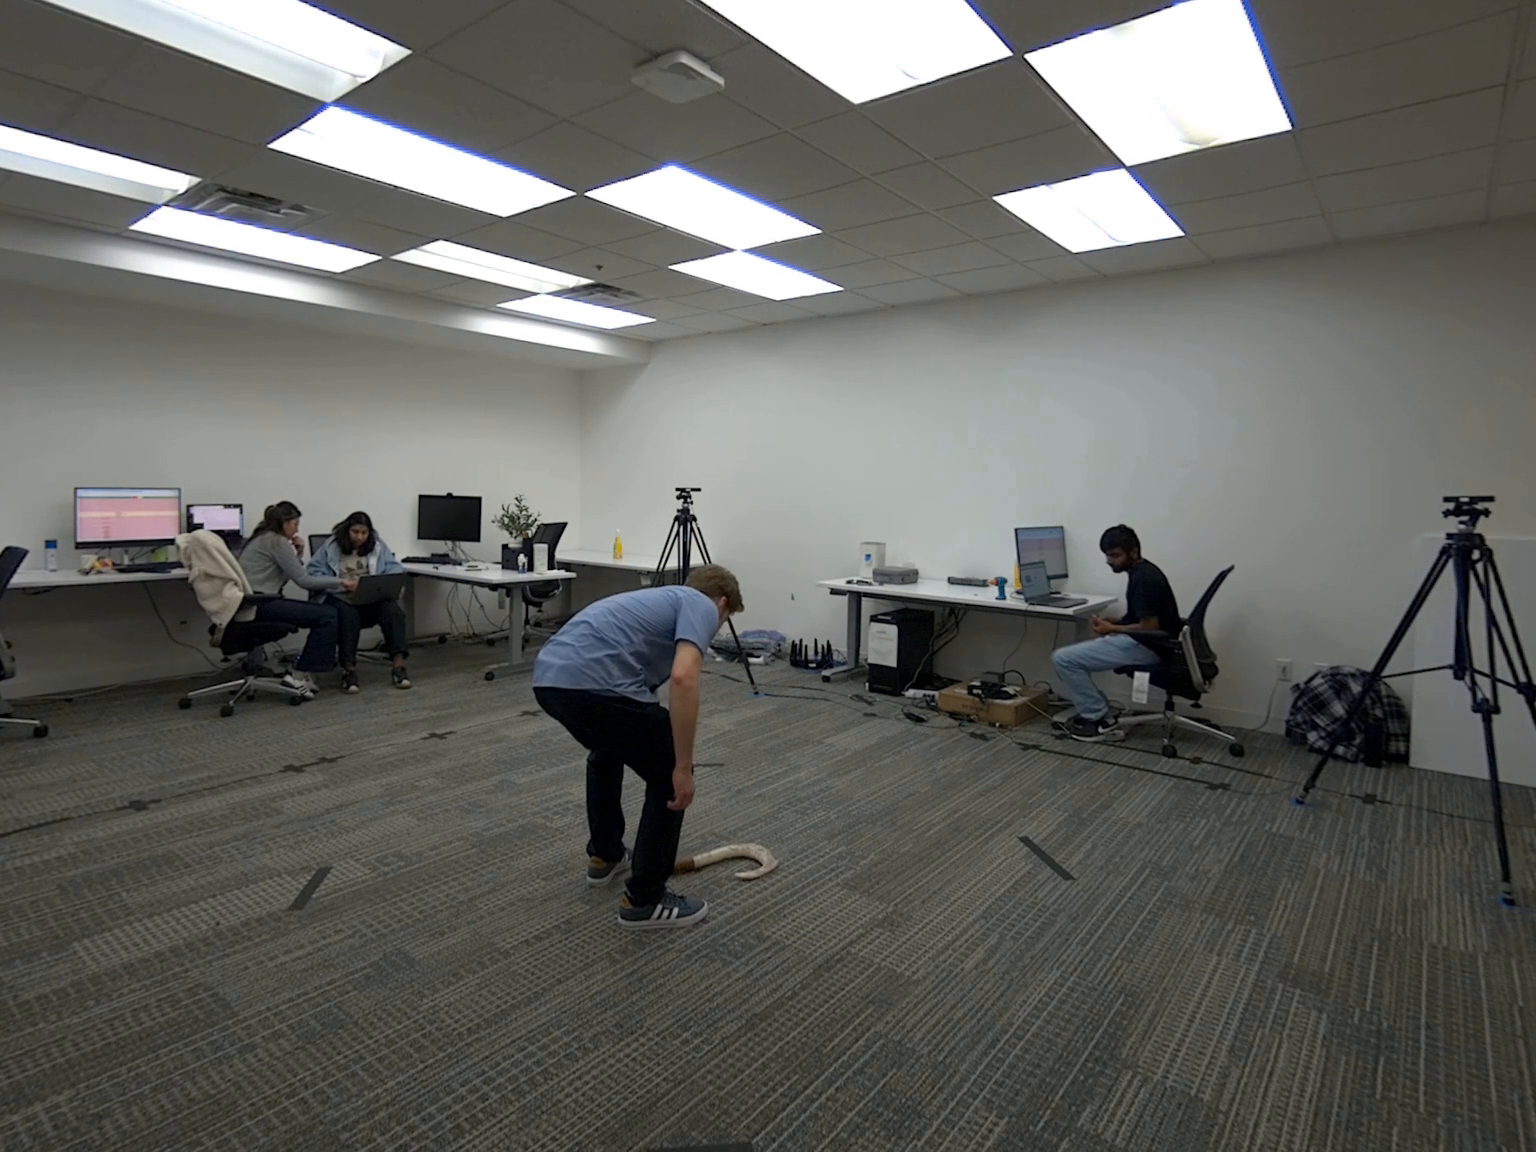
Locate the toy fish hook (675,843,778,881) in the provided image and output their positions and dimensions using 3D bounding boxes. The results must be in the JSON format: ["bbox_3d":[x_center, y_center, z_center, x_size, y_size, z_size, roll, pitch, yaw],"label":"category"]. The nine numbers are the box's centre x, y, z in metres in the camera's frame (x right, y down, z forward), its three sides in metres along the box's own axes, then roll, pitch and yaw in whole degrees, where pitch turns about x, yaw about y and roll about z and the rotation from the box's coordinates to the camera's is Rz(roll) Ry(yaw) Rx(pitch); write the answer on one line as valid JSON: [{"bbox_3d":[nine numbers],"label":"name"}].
[{"bbox_3d":[-0.213,1.051,3.080,0.495,0.048,0.231,-3,6,-24],"label":"toy fish hook"}]
